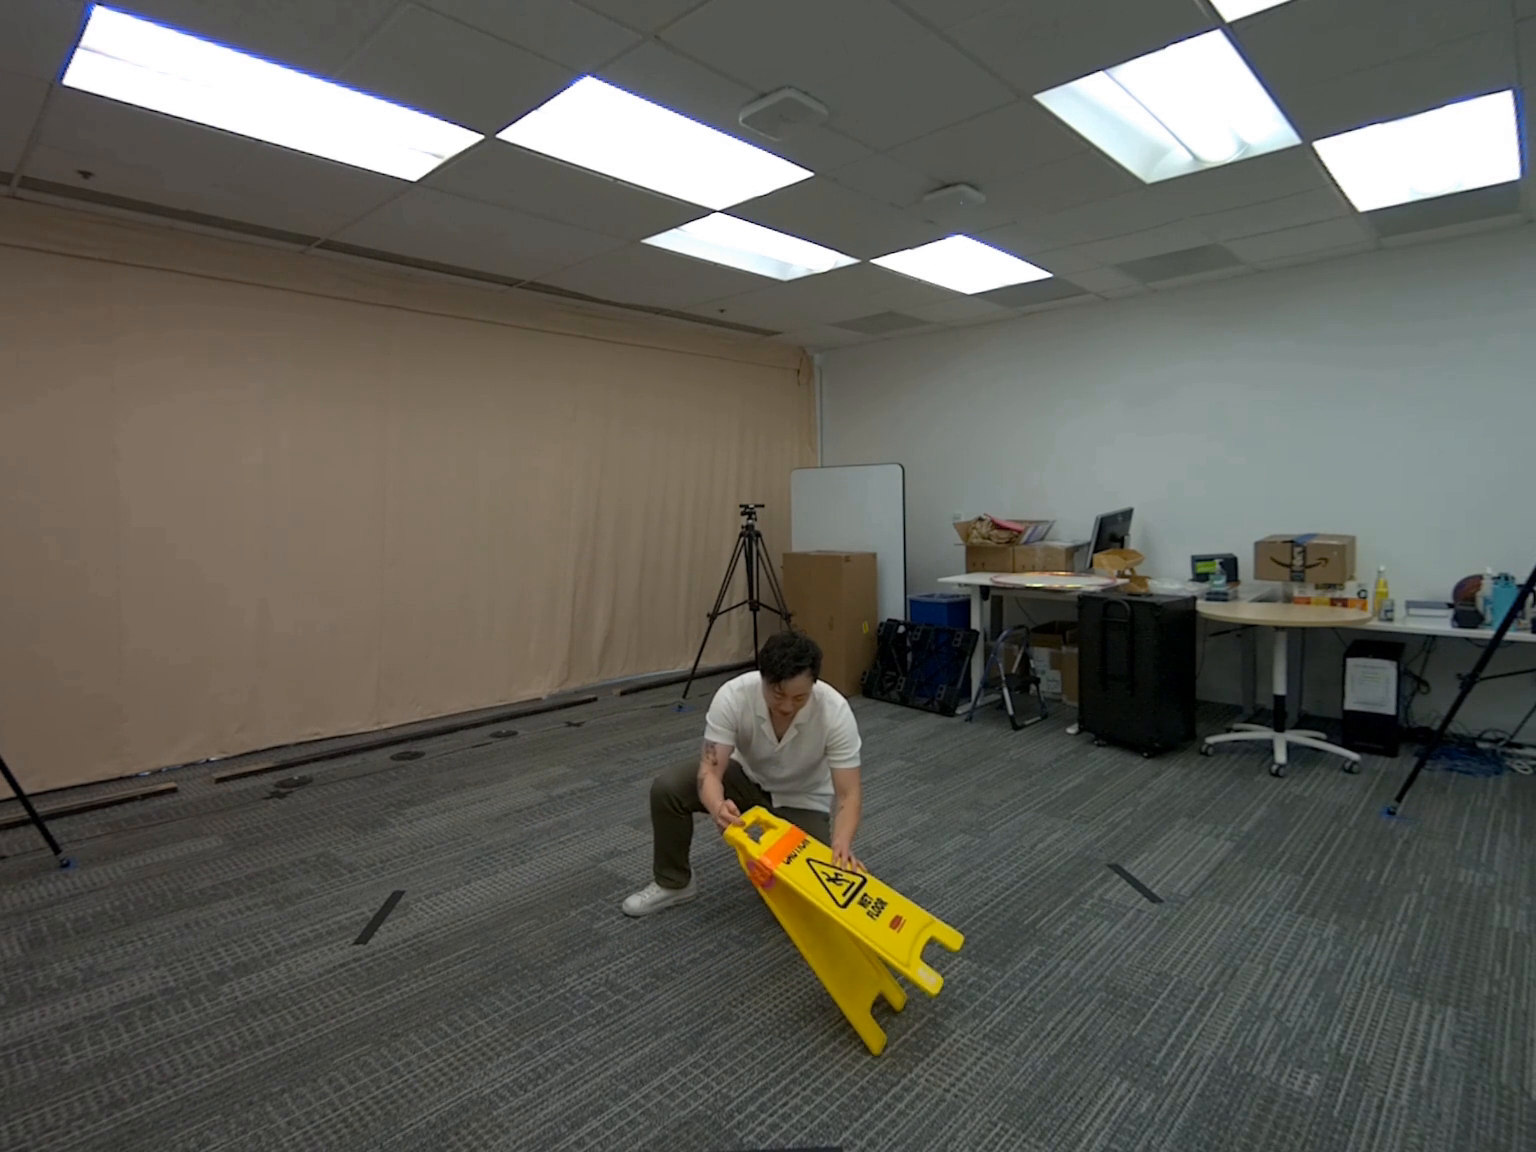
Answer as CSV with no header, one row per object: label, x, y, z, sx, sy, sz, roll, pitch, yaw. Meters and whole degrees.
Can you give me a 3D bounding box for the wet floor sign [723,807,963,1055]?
wet floor sign,0.151,0.888,2.299,0.661,0.290,0.275,41,23,18
